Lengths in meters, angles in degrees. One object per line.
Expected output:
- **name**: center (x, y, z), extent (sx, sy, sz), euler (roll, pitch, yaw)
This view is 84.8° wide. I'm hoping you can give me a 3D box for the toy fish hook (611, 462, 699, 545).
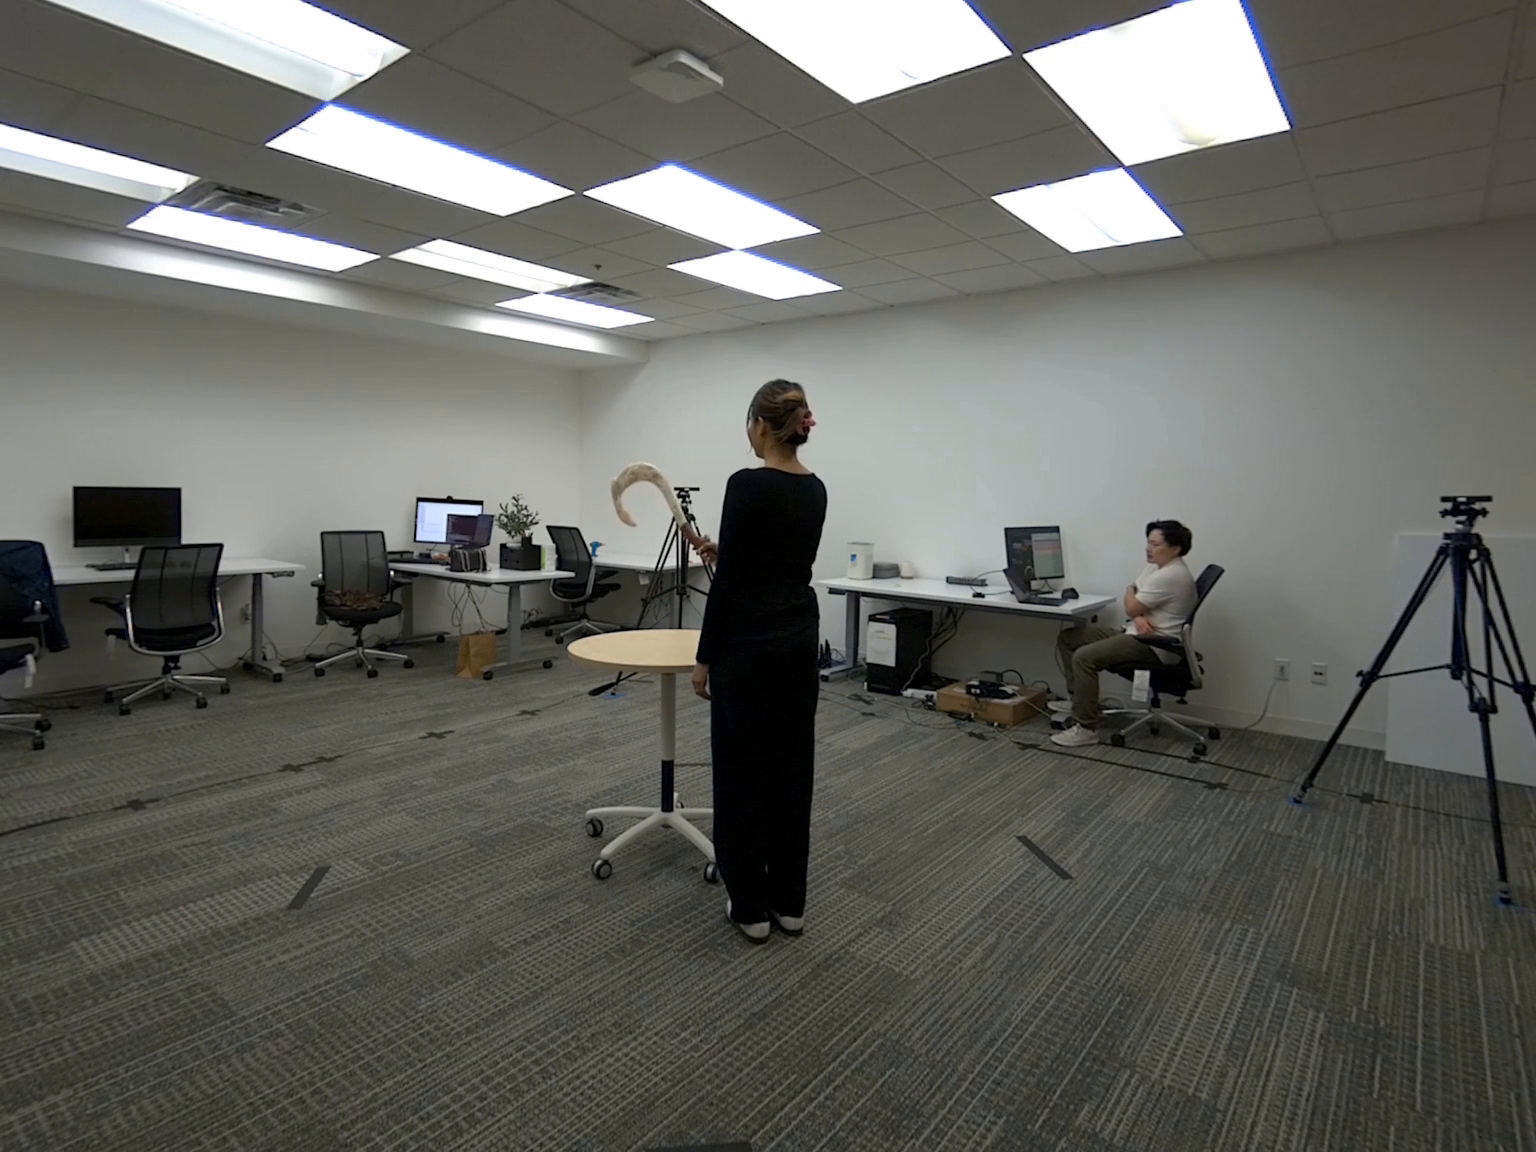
- **toy fish hook**: center (-0.382, -0.187, 3.069), extent (0.224, 0.515, 0.047), euler (-41, -12, 1)
